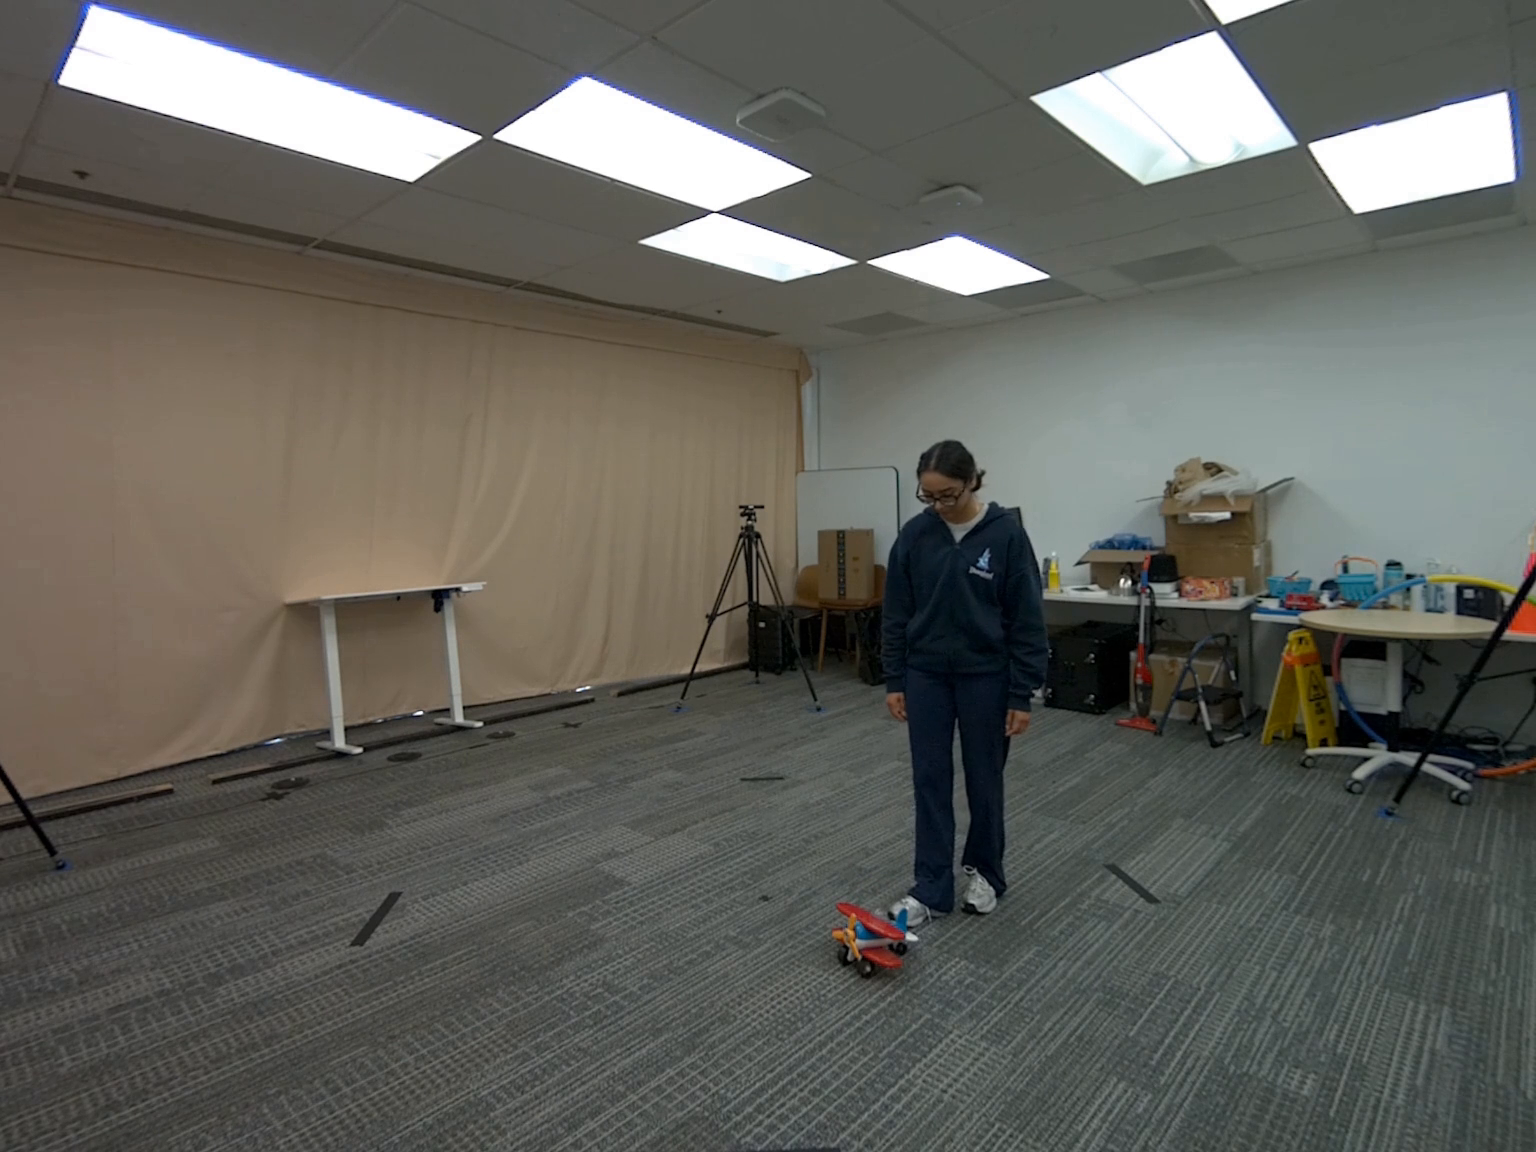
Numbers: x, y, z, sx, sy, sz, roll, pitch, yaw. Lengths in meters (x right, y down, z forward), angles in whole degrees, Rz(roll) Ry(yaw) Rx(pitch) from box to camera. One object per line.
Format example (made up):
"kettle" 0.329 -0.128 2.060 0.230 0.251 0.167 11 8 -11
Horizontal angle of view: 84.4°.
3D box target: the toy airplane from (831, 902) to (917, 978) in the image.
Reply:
"toy airplane" 0.324 1.099 2.566 0.257 0.156 0.253 1 6 25
